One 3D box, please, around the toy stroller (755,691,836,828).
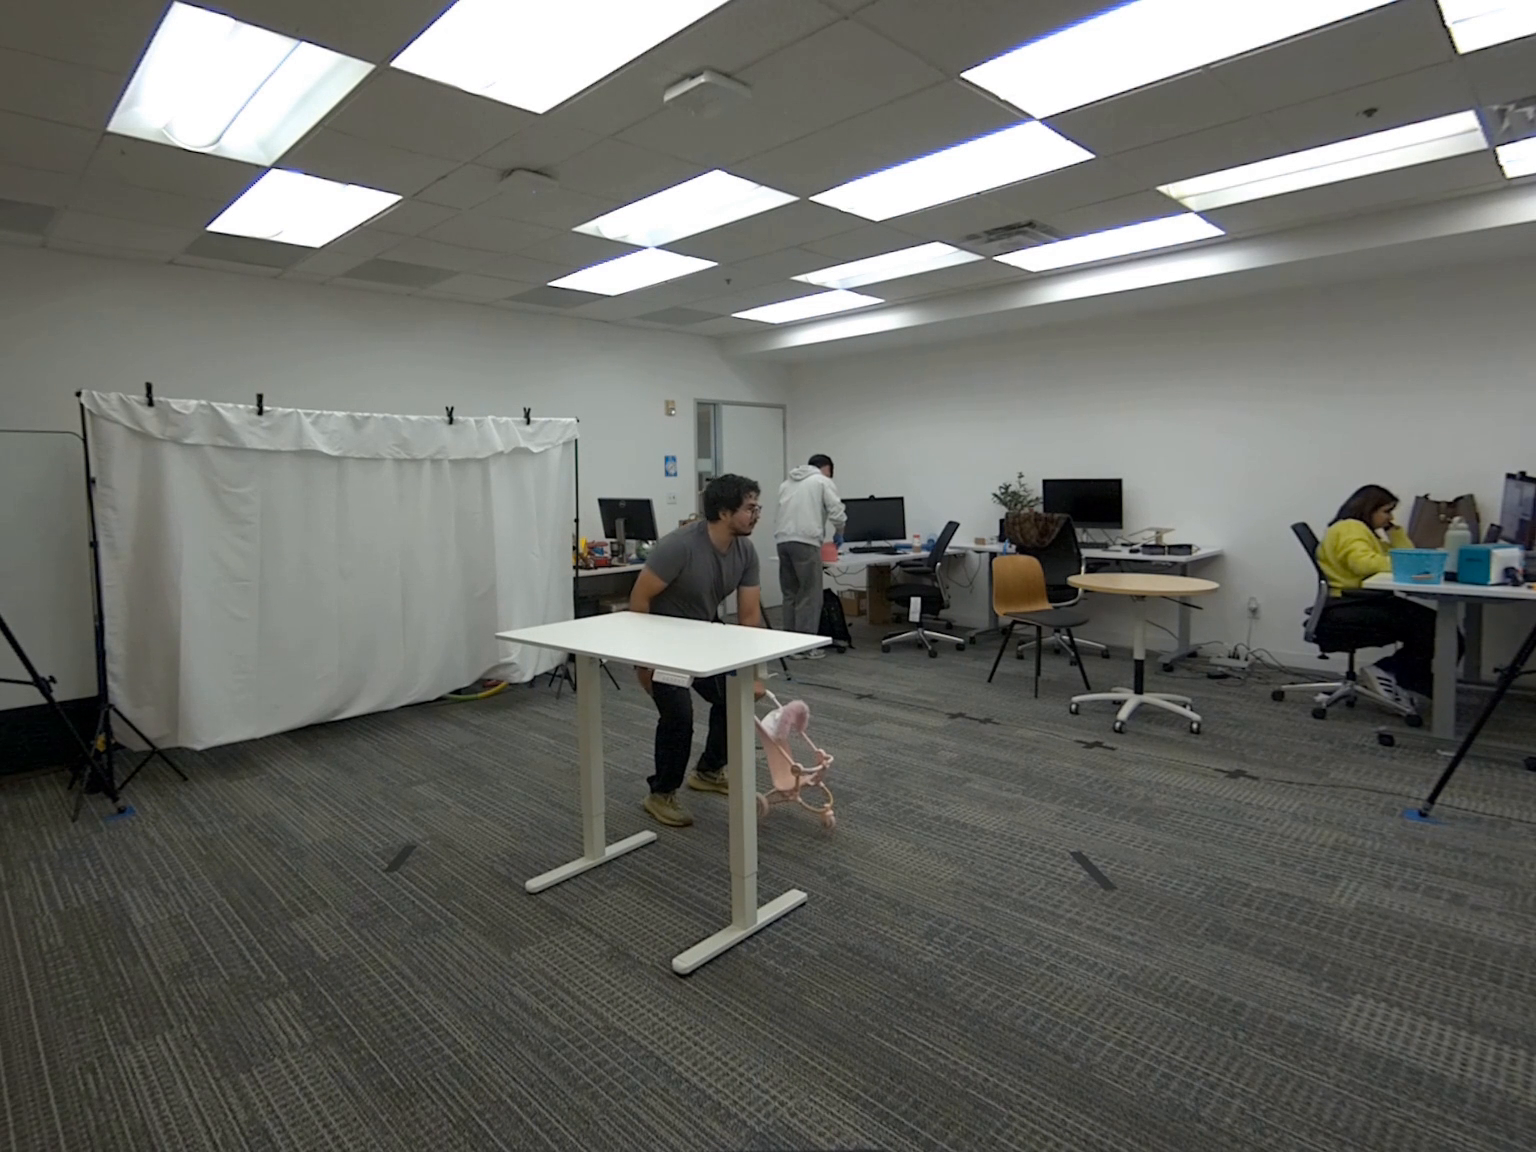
[{"bbox_3d":[0.096,0.727,3.394,0.350,0.534,0.274,-6,1,38],"label":"toy stroller"}]
